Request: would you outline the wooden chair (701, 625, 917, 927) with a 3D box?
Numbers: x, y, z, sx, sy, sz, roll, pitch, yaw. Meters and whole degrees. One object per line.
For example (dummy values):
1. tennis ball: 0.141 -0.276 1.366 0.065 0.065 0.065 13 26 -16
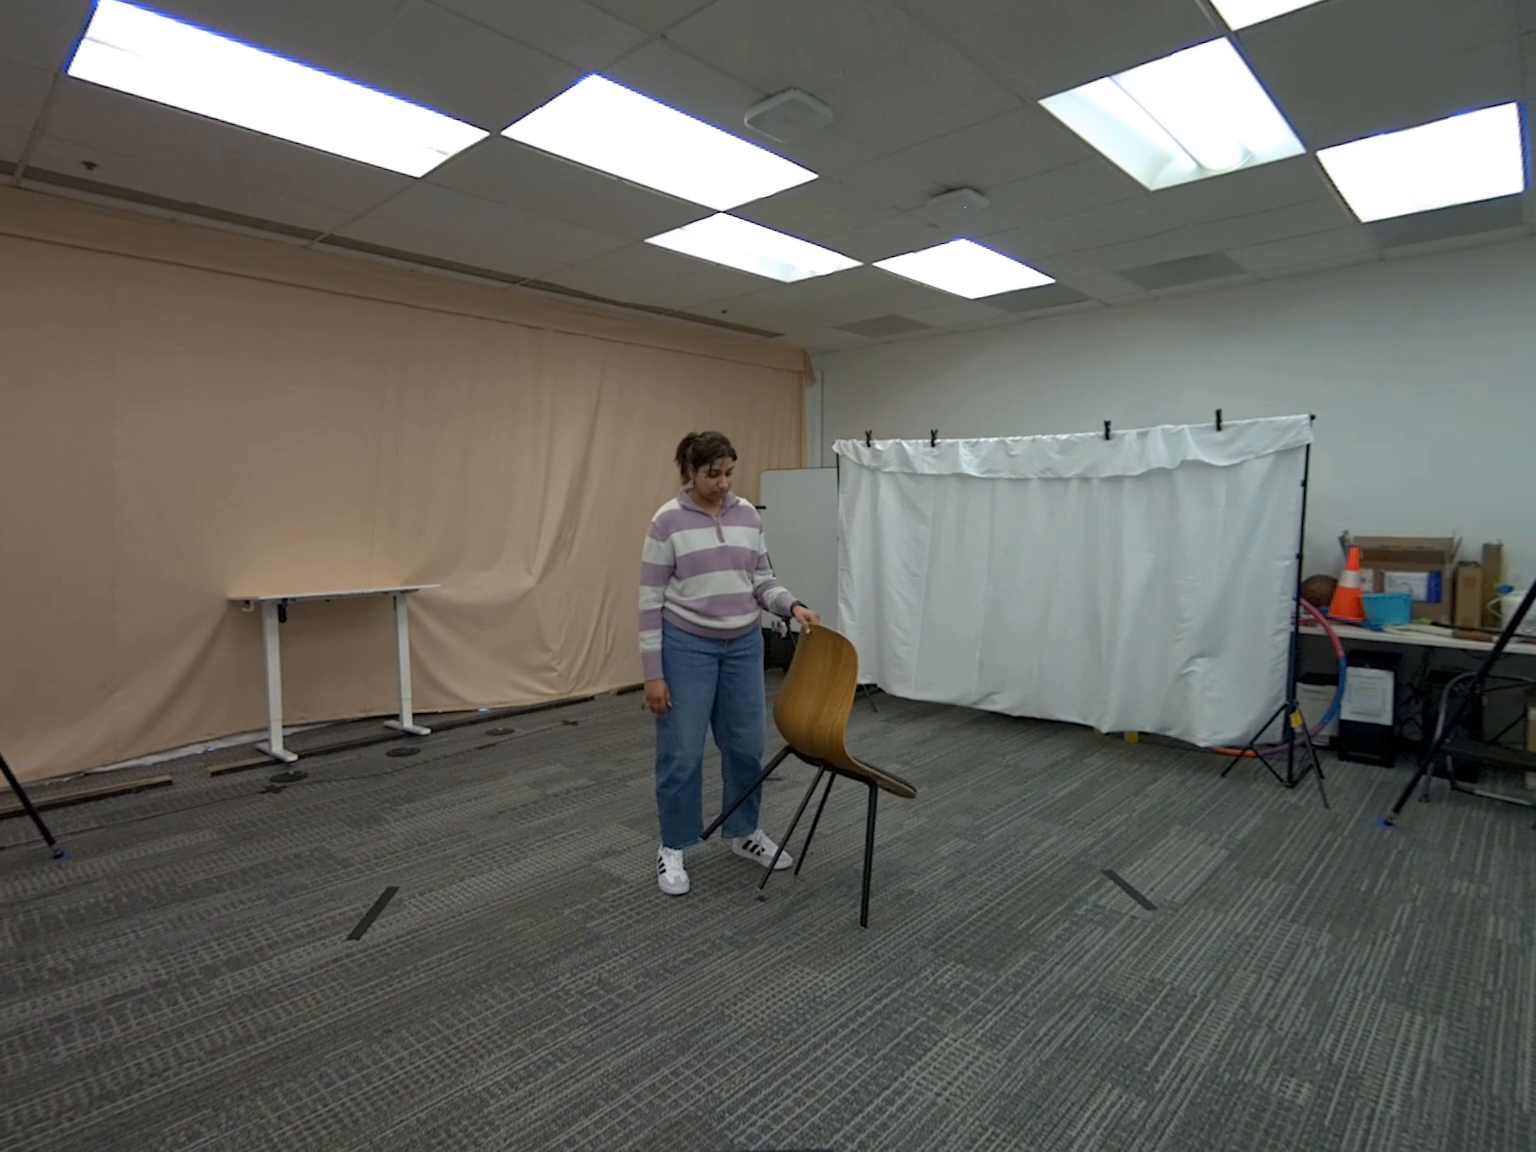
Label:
1. wooden chair: 0.230 0.668 2.941 0.508 0.878 0.491 24 -7 -26
